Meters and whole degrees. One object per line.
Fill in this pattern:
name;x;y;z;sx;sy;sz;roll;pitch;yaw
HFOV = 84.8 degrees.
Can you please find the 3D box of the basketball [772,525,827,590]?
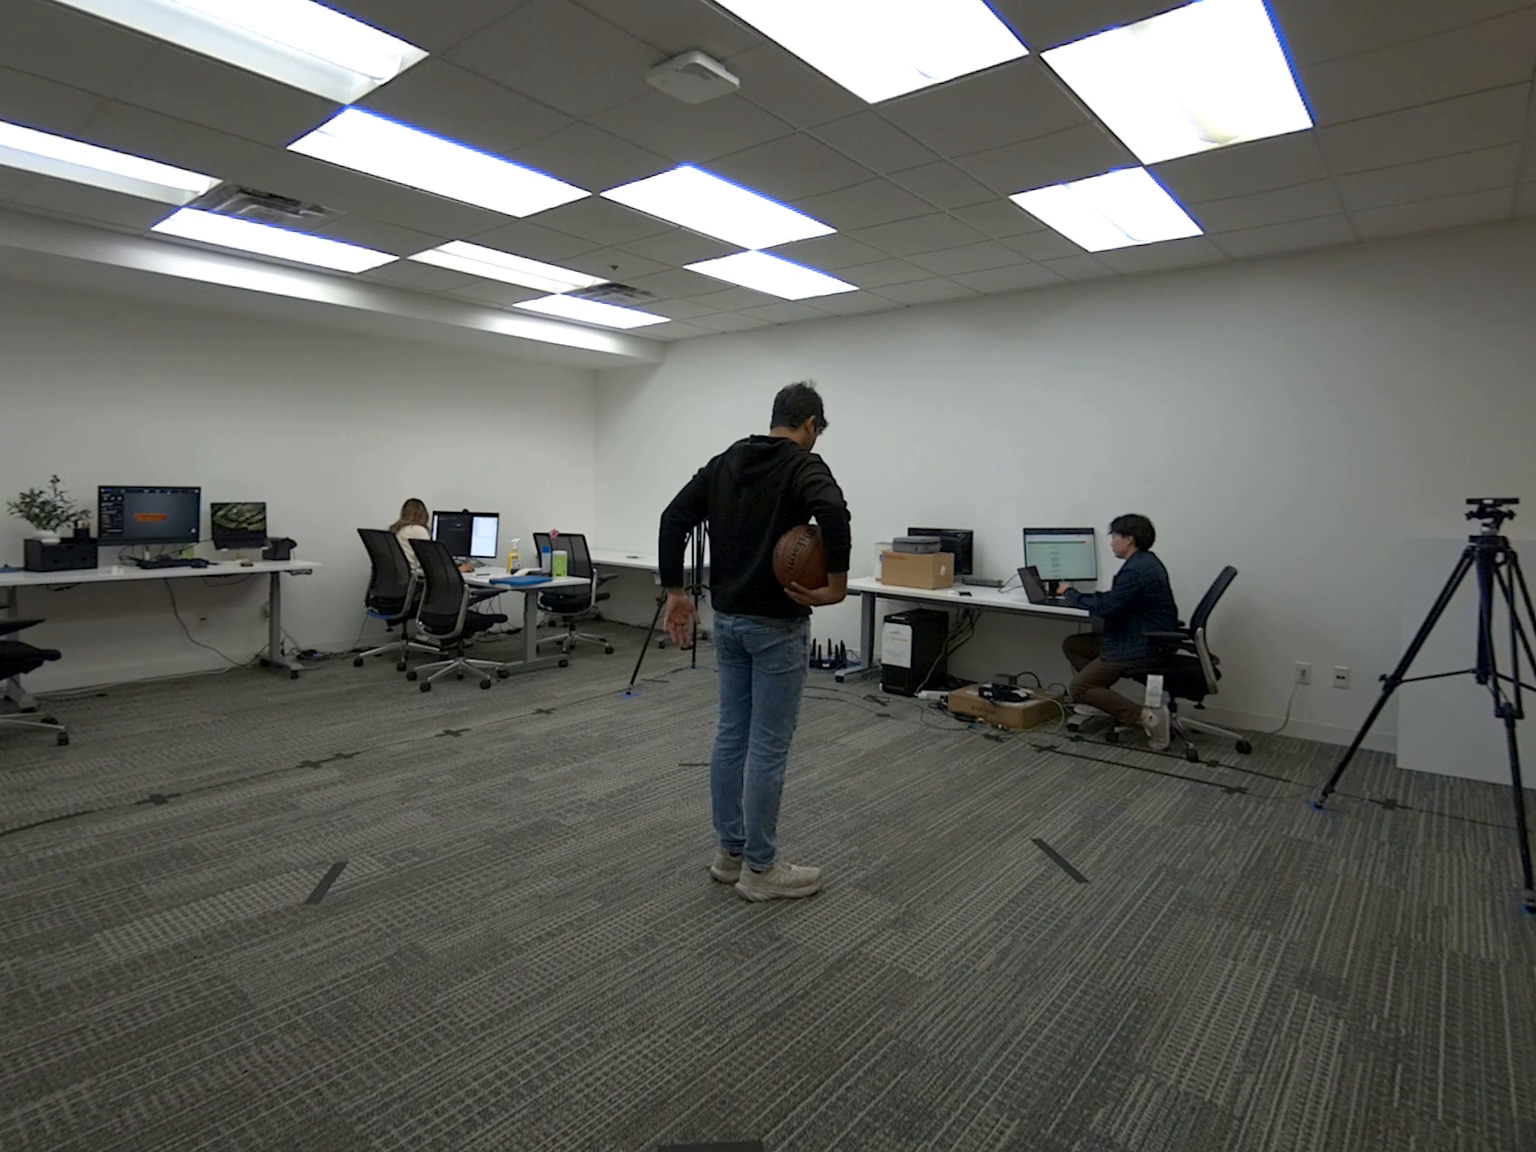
basketball;0.138;-0.050;2.745;0.235;0.235;0.237;1;4;-2
